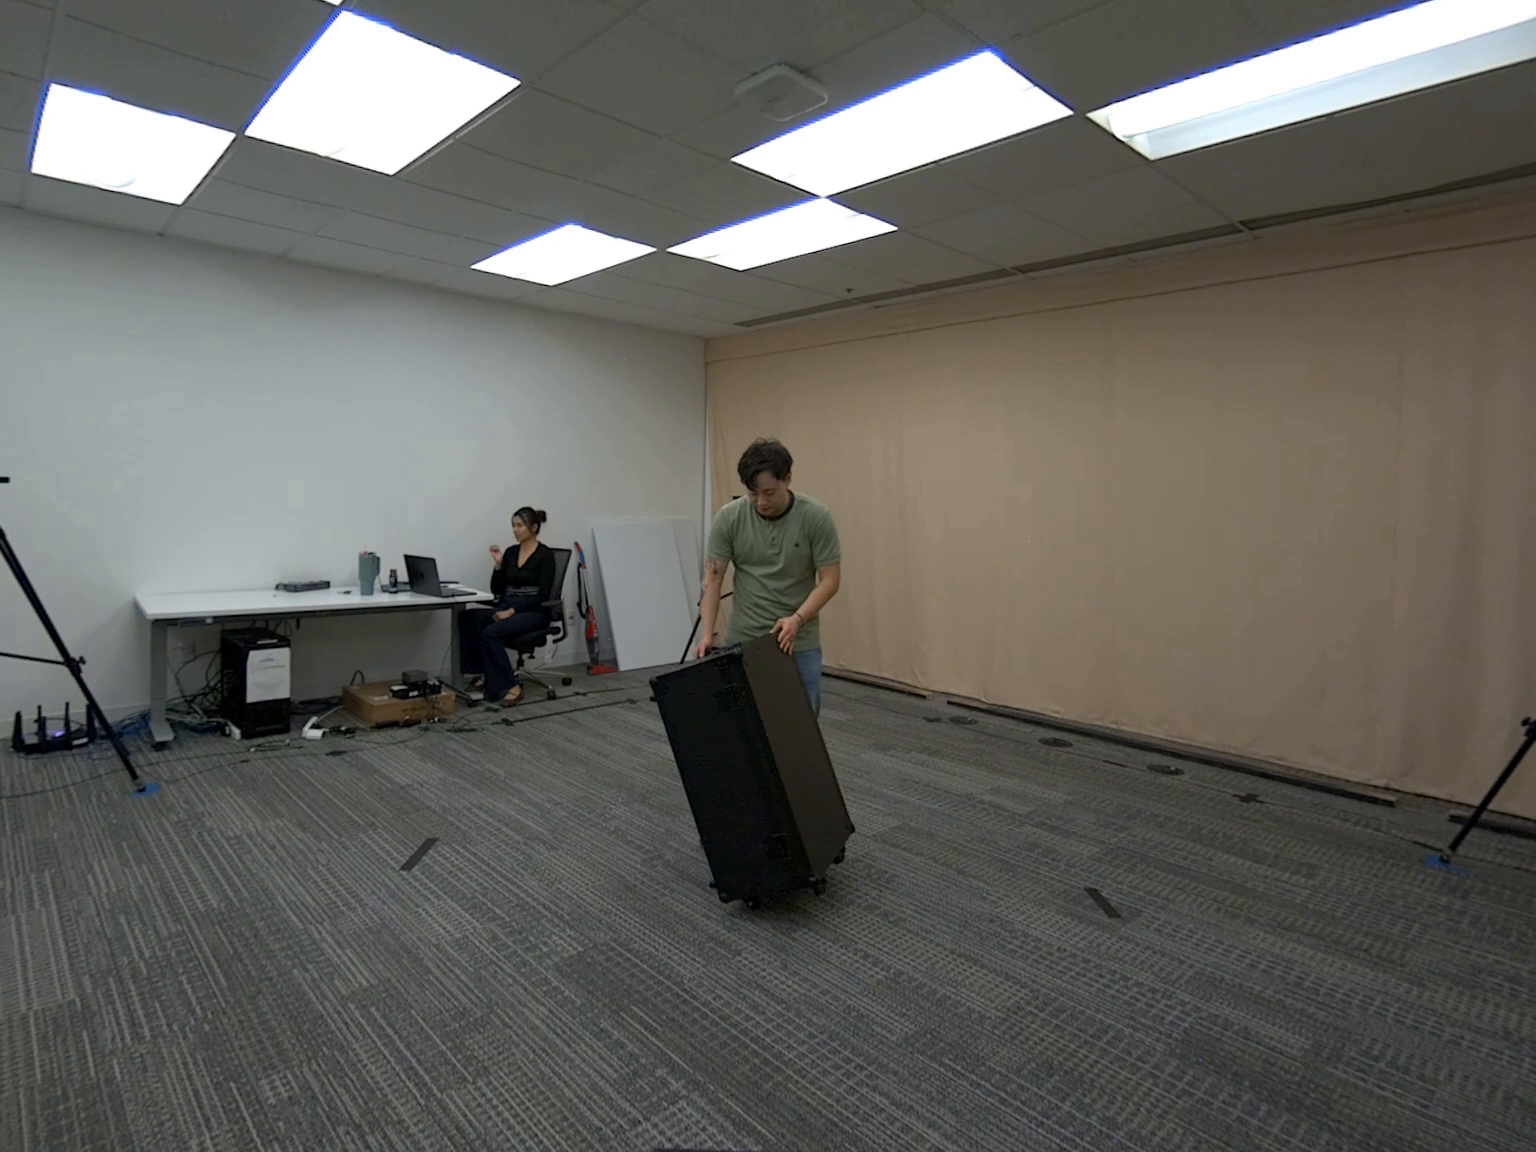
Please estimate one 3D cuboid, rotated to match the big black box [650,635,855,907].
[{"bbox_3d":[-0.046,0.682,2.972,0.400,0.865,0.514,-21,-4,22],"label":"big black box"}]
